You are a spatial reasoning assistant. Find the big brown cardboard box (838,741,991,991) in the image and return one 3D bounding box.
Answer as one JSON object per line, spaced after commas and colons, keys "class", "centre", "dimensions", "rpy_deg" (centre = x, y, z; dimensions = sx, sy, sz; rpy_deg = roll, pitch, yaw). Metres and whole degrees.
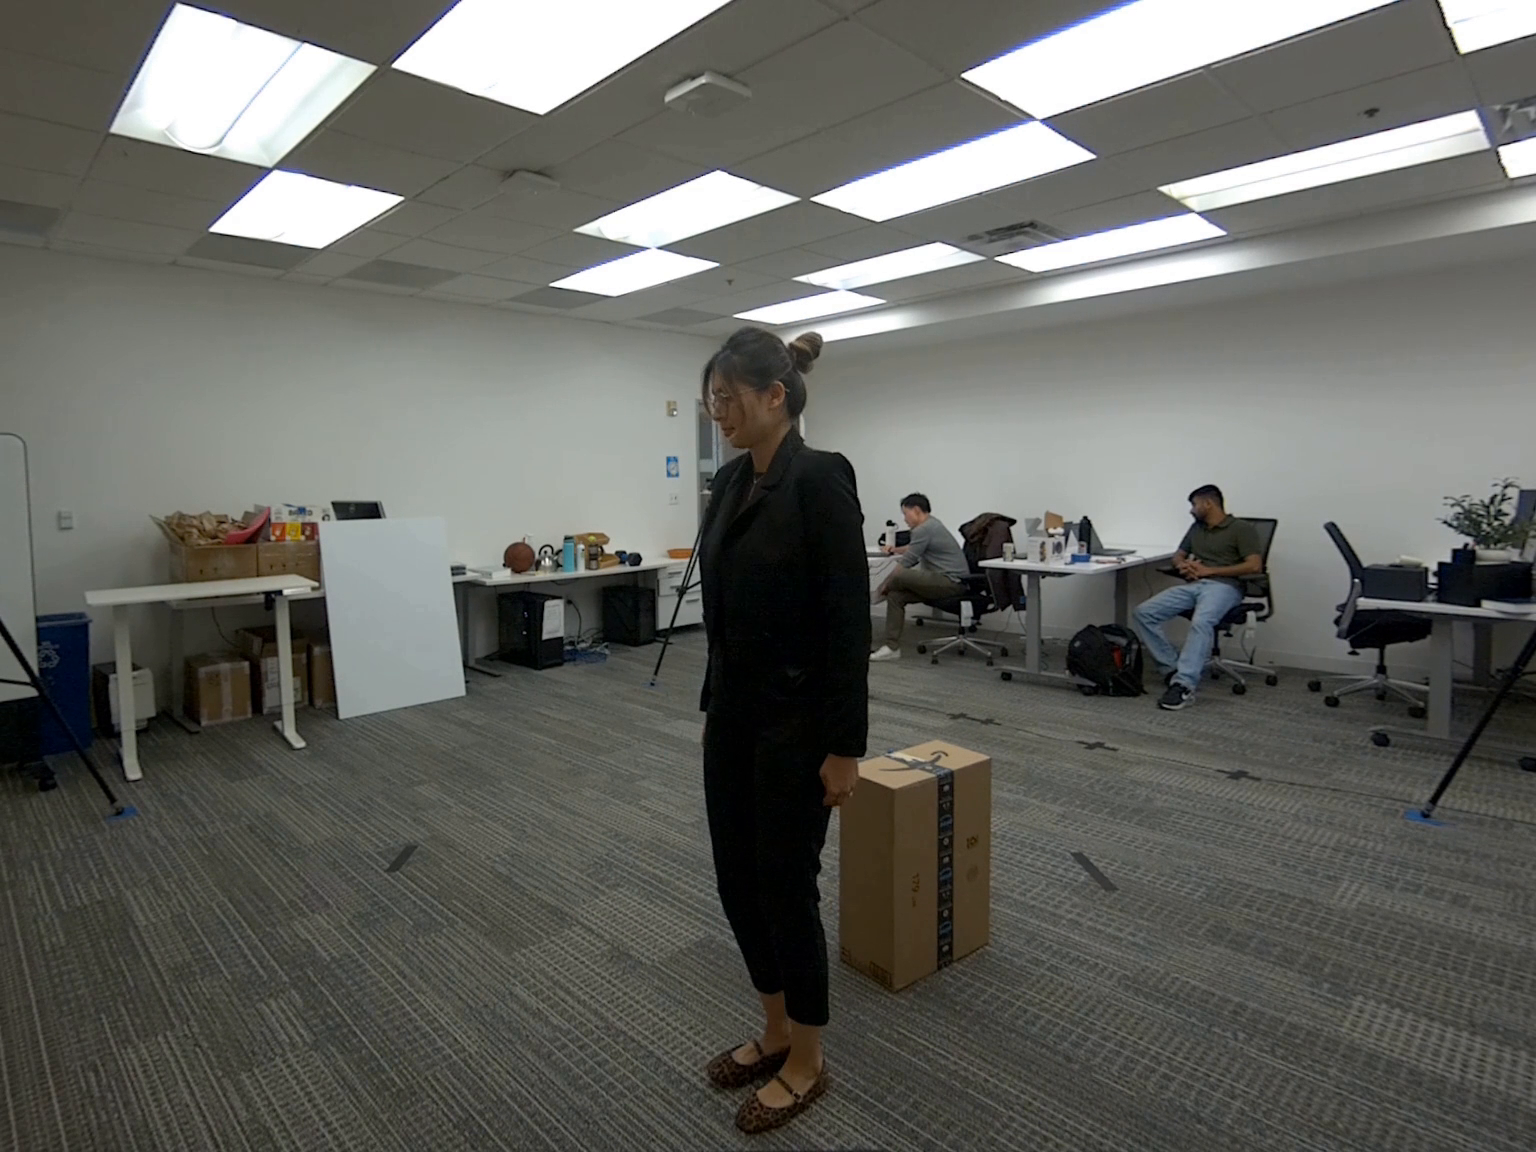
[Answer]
{"class": "big brown cardboard box", "centre": [0.428, 0.827, 2.506], "dimensions": [0.407, 0.587, 0.240], "rpy_deg": [-3, 5, -36]}
